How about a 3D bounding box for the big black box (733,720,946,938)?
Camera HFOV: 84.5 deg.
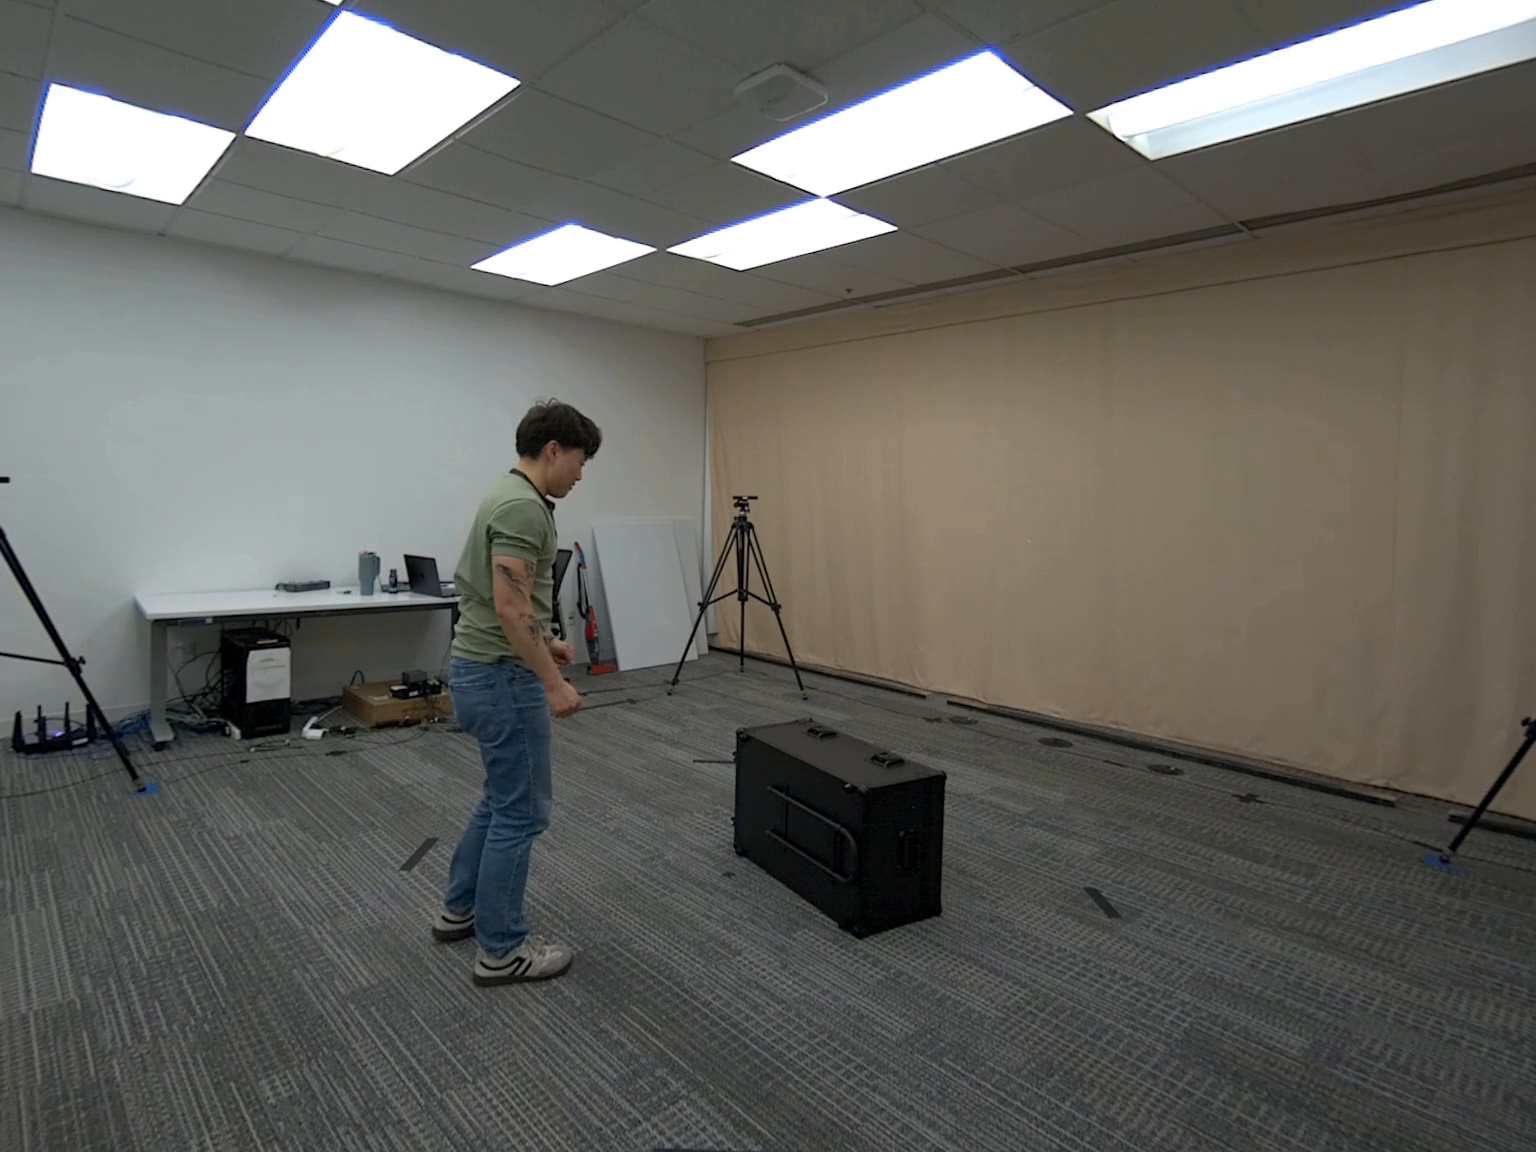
[{"bbox_3d":[0.196,0.870,3.093,0.388,0.520,0.881,-1,5,-31],"label":"big black box"}]
